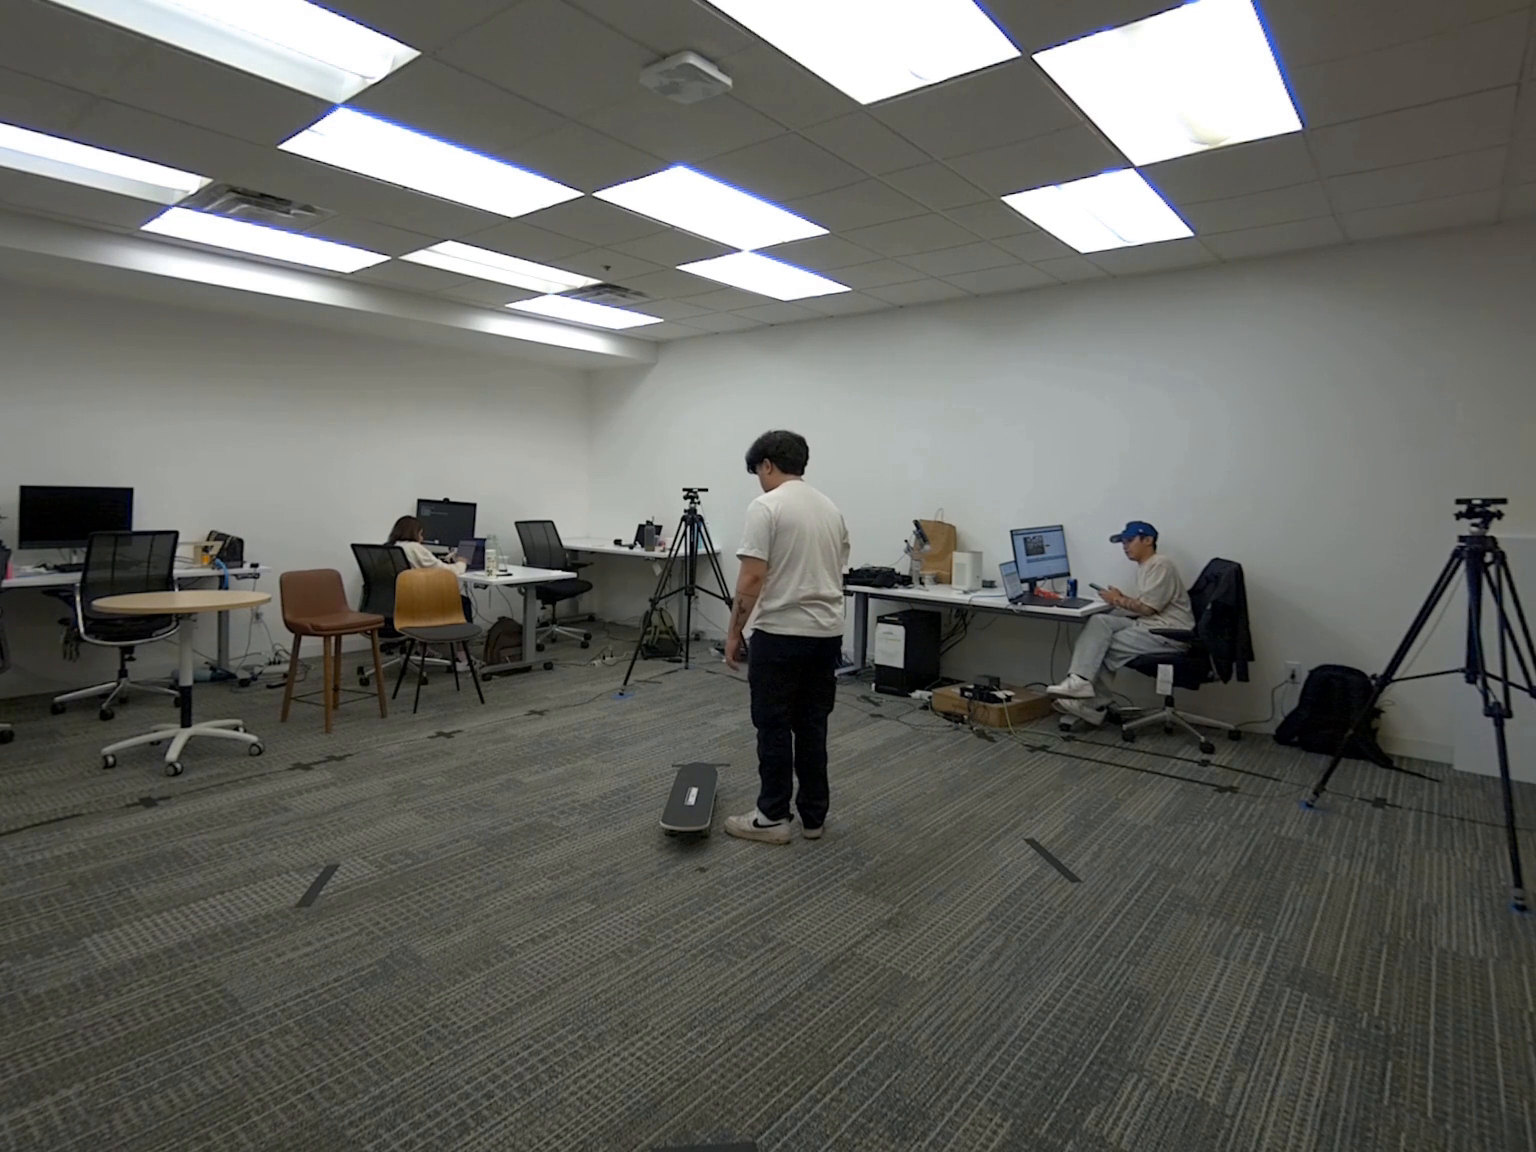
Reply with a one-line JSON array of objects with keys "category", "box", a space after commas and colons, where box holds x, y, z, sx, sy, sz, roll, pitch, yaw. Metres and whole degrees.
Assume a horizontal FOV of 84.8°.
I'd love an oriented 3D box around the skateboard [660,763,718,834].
[{"category": "skateboard", "box": [-0.336, 0.960, 3.605, 0.194, 0.110, 0.786, 0, 6, 1]}]
